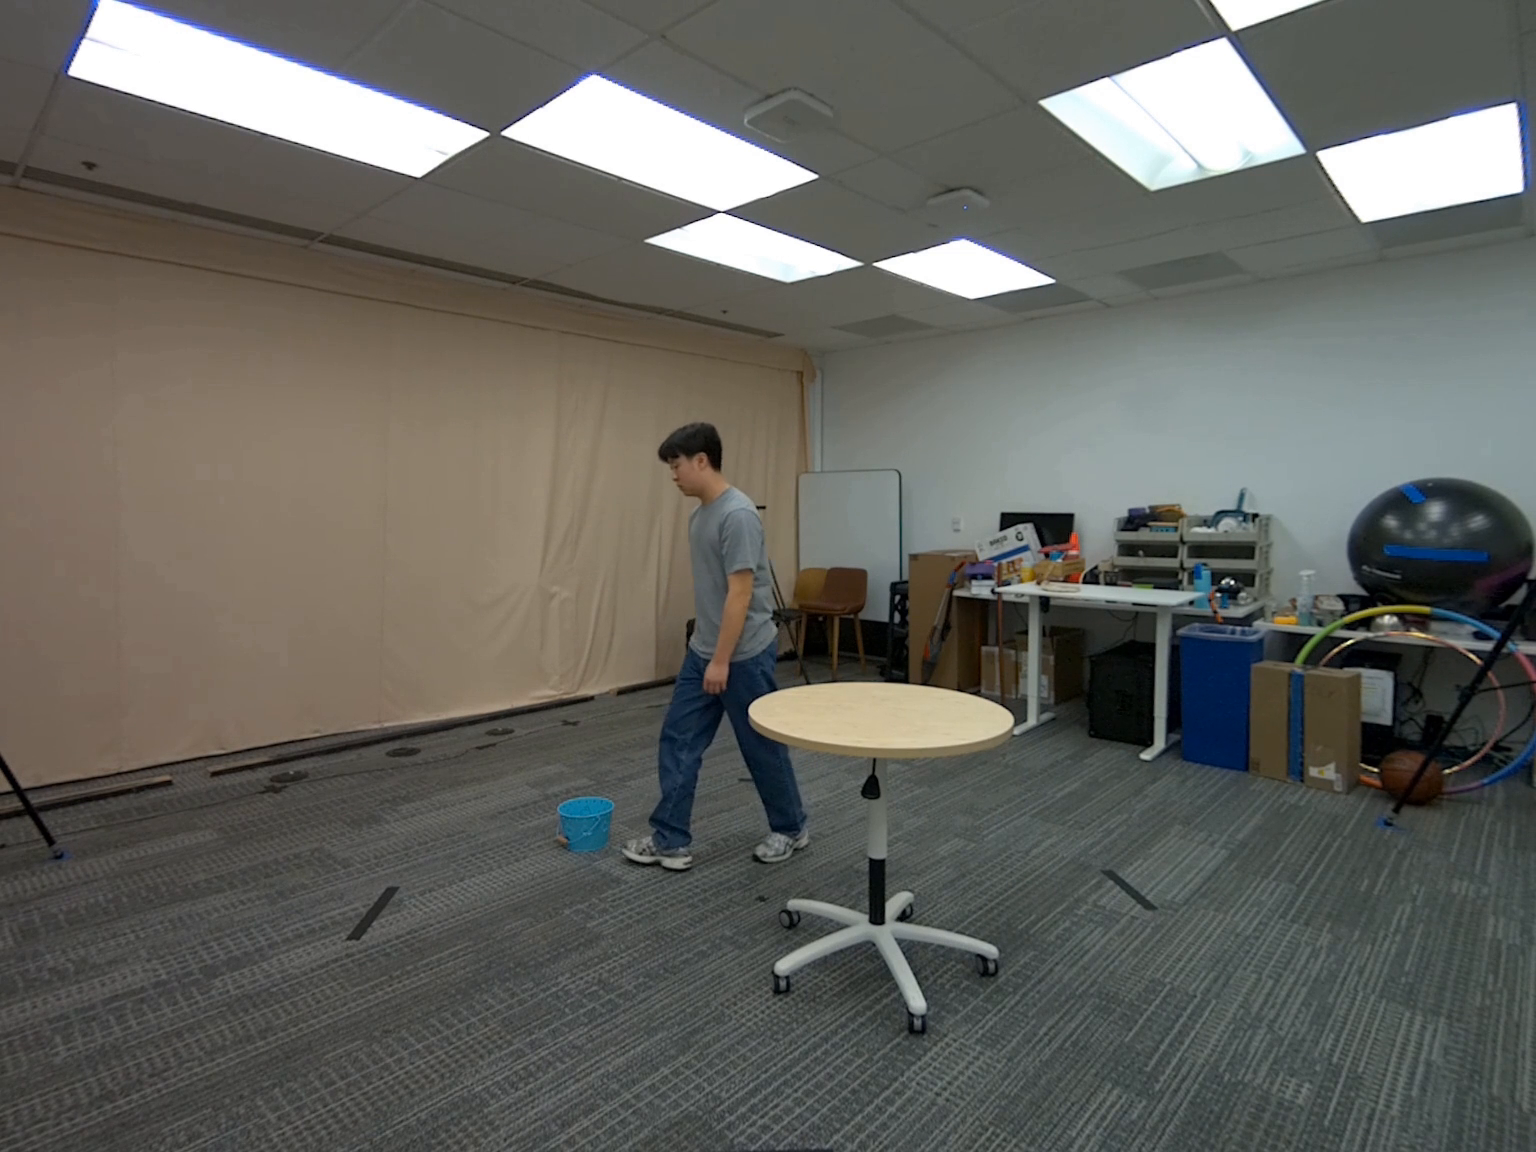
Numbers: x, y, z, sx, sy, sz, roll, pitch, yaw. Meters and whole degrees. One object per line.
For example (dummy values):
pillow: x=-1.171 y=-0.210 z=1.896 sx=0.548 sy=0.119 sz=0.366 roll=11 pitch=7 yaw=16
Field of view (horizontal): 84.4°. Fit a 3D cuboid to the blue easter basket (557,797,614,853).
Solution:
blue easter basket: x=-0.757 y=1.030 z=3.493 sx=0.243 sy=0.155 sz=0.244 roll=0 pitch=3 yaw=-2
